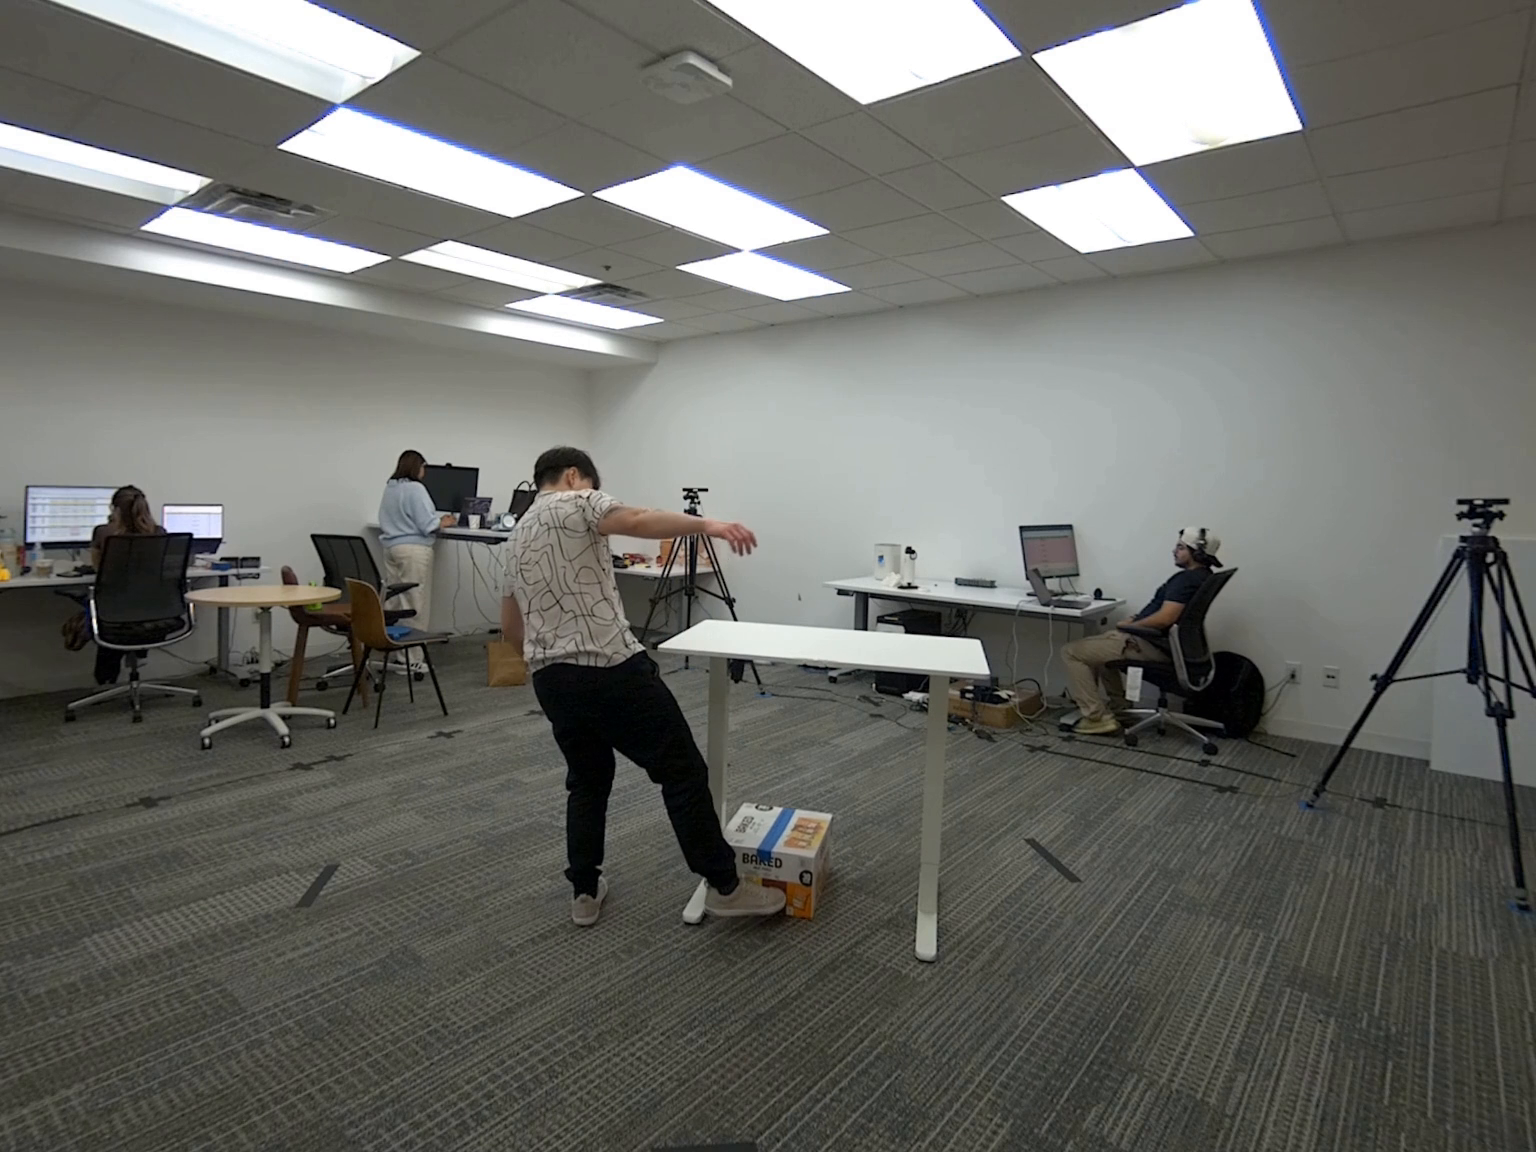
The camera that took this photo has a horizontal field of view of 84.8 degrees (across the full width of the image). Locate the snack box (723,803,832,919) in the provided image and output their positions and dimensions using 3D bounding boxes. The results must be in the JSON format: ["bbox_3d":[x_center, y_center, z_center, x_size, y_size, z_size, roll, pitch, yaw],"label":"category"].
[{"bbox_3d":[0.019,0.984,2.990,0.346,0.205,0.400,3,5,14],"label":"snack box"}]
